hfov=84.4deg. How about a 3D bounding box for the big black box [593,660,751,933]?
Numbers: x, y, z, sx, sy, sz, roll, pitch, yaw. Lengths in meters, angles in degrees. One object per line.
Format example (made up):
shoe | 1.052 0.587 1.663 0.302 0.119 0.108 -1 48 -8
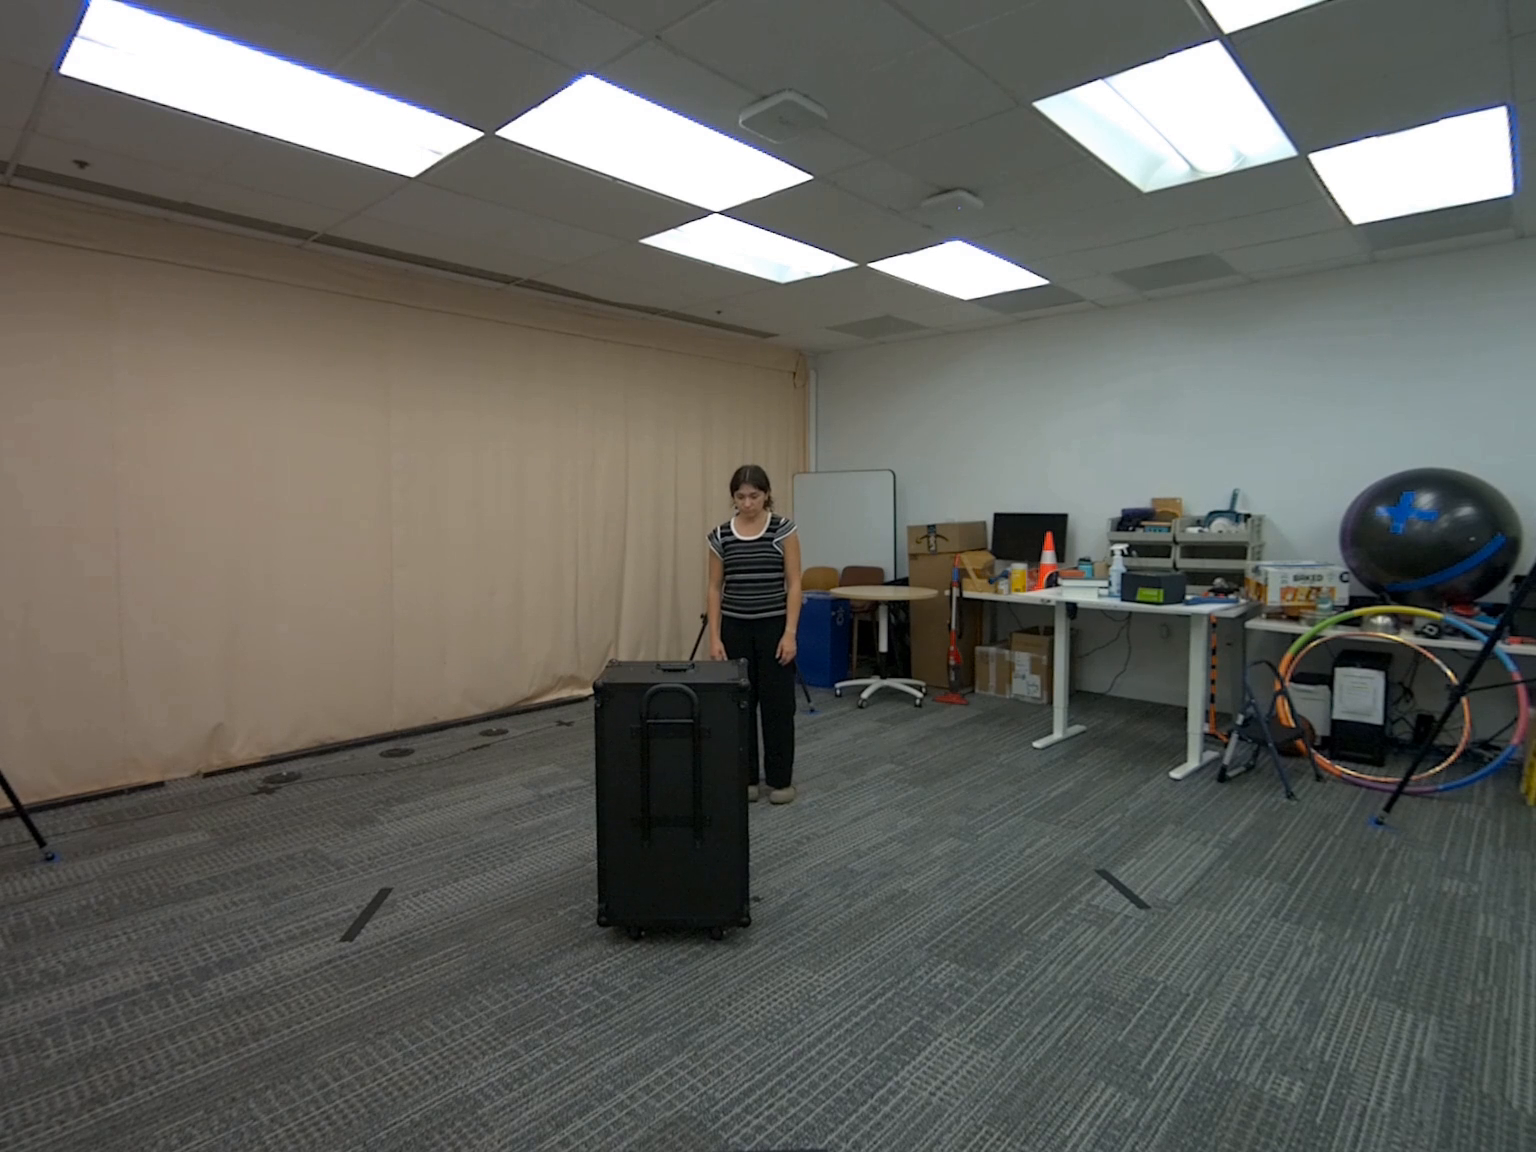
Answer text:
big black box | -0.303 0.740 2.788 0.522 0.859 0.397 1 4 1
